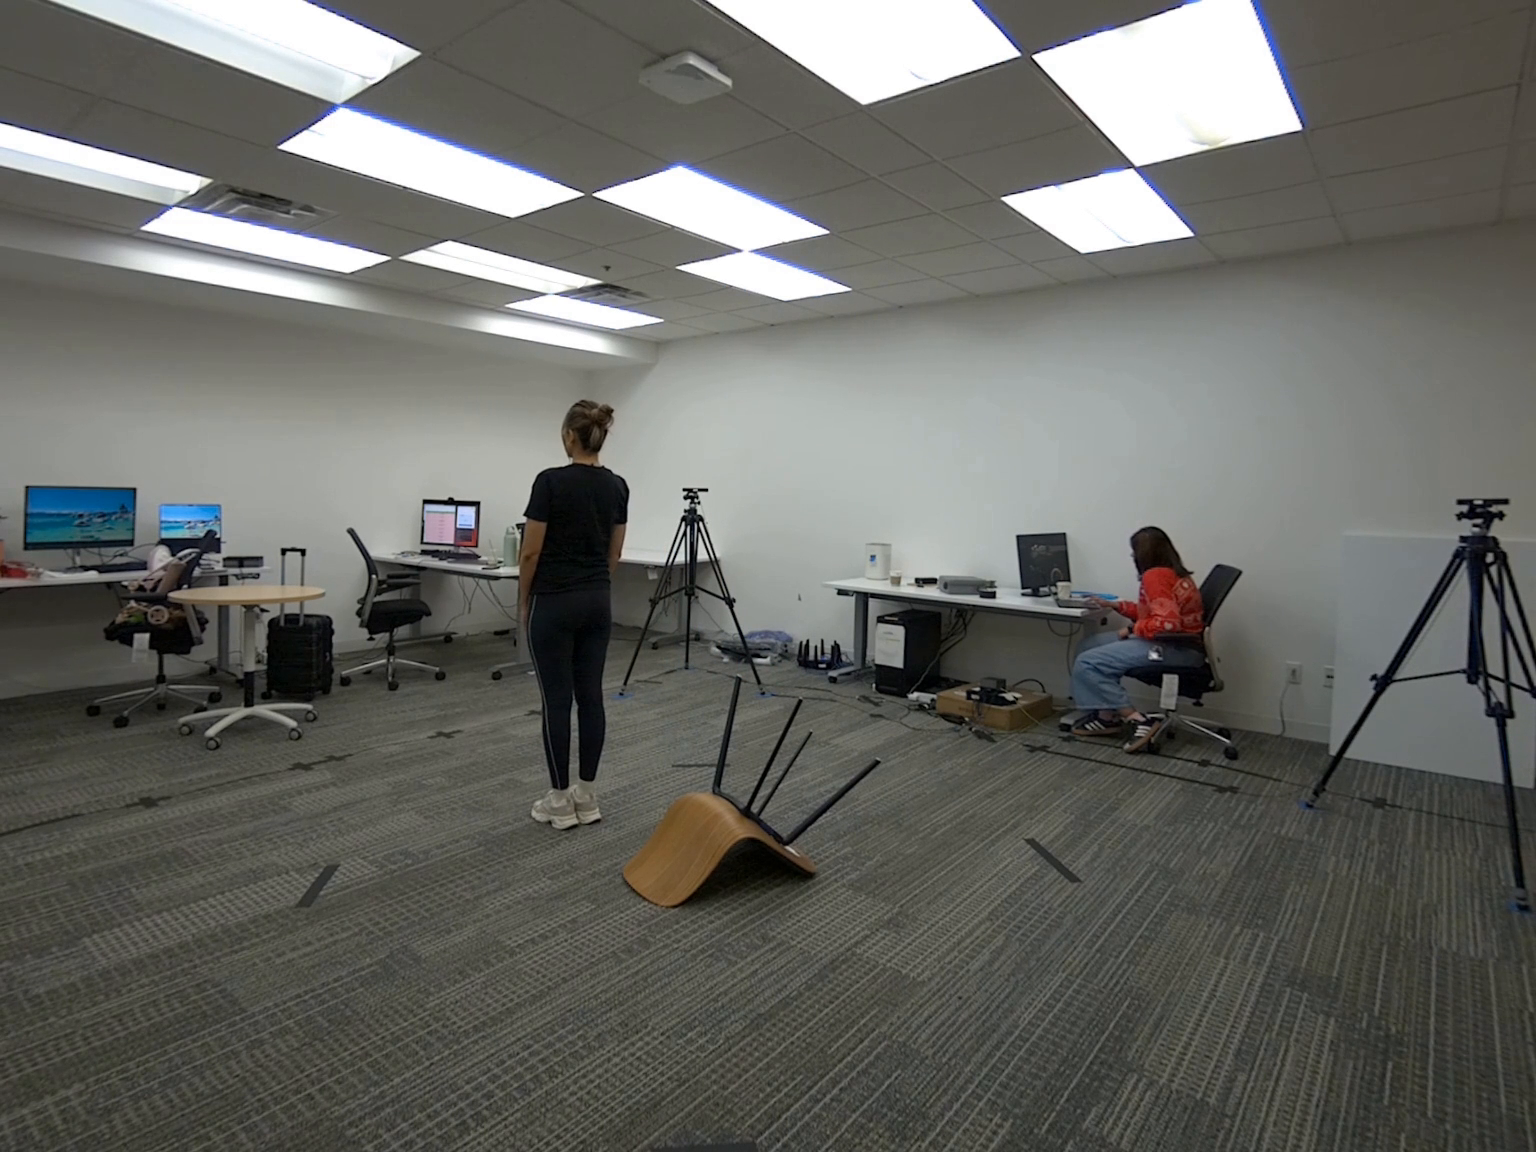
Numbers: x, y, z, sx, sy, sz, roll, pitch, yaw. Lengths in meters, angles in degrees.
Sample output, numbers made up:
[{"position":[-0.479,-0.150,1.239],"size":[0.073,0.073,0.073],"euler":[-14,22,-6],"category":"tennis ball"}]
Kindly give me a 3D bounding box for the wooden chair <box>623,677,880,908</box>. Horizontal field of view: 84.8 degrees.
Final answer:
[{"position":[-0.073,0.895,3.161],"size":[0.507,0.879,0.492],"euler":[44,-19,-25],"category":"wooden chair"}]
